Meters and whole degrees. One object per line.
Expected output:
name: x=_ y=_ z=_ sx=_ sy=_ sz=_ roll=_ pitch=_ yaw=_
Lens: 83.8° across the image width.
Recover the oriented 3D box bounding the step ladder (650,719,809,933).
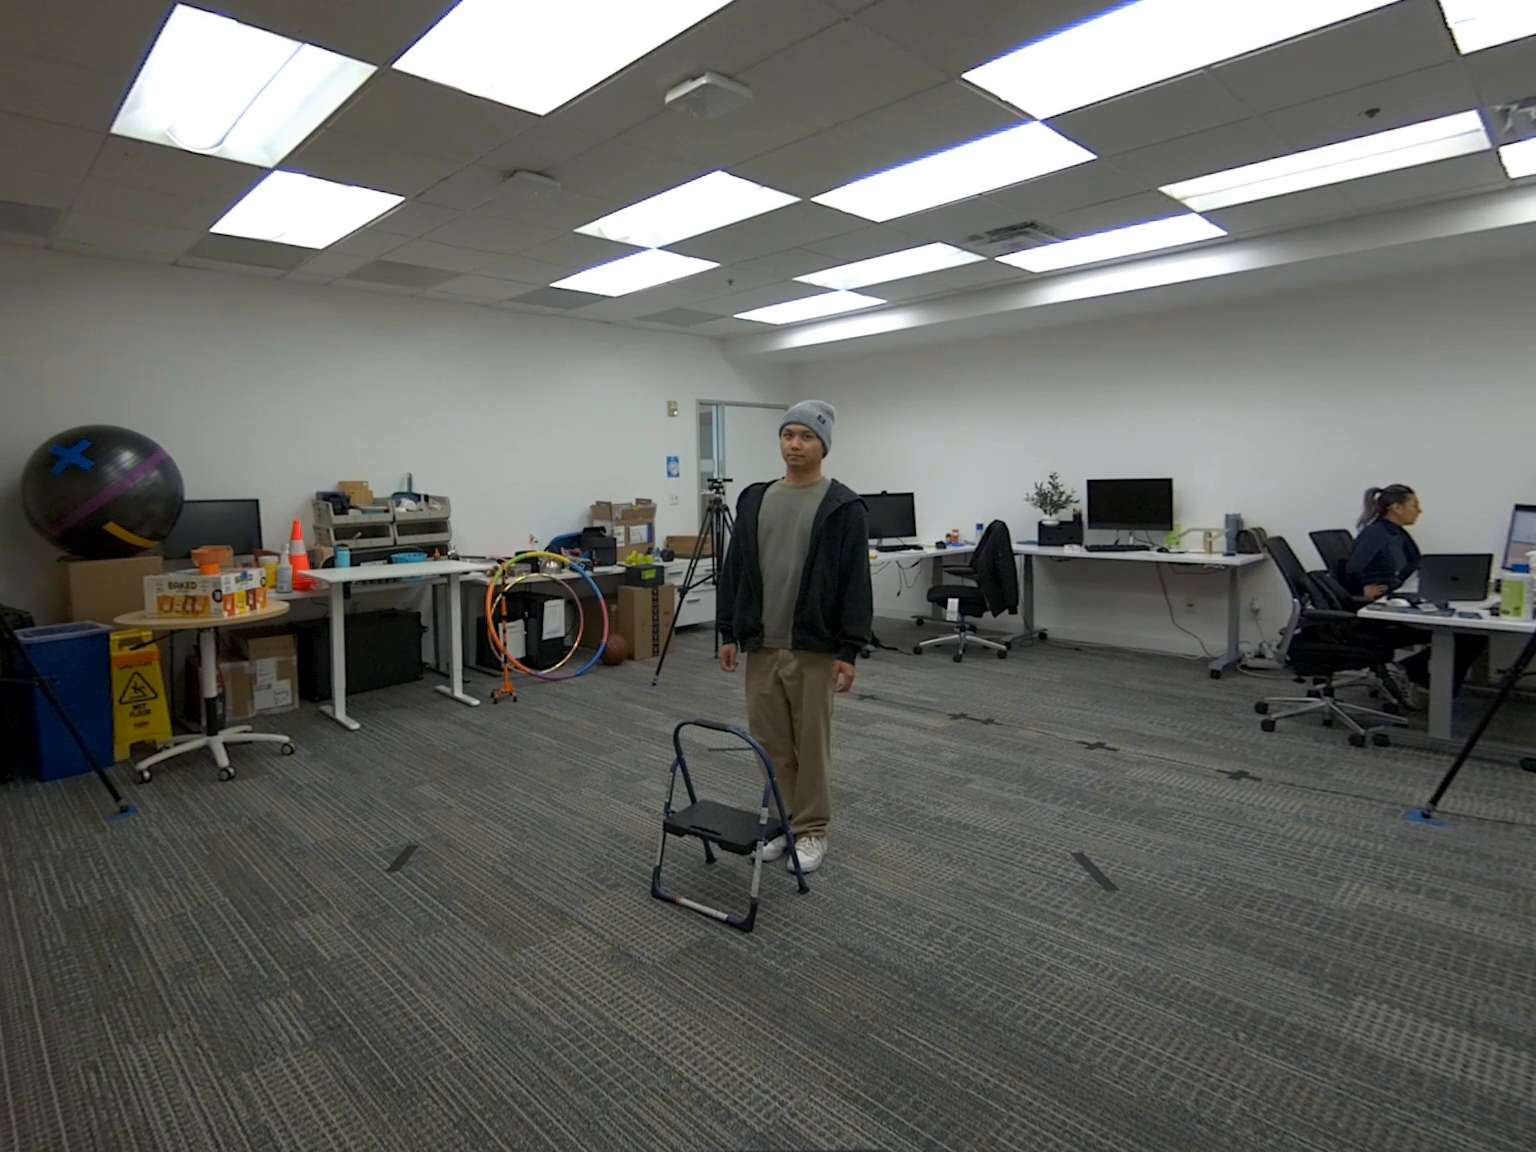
step ladder: x=-0.135 y=0.771 z=2.864 sx=0.443 sy=0.604 sz=0.341 roll=2 pitch=5 yaw=35
